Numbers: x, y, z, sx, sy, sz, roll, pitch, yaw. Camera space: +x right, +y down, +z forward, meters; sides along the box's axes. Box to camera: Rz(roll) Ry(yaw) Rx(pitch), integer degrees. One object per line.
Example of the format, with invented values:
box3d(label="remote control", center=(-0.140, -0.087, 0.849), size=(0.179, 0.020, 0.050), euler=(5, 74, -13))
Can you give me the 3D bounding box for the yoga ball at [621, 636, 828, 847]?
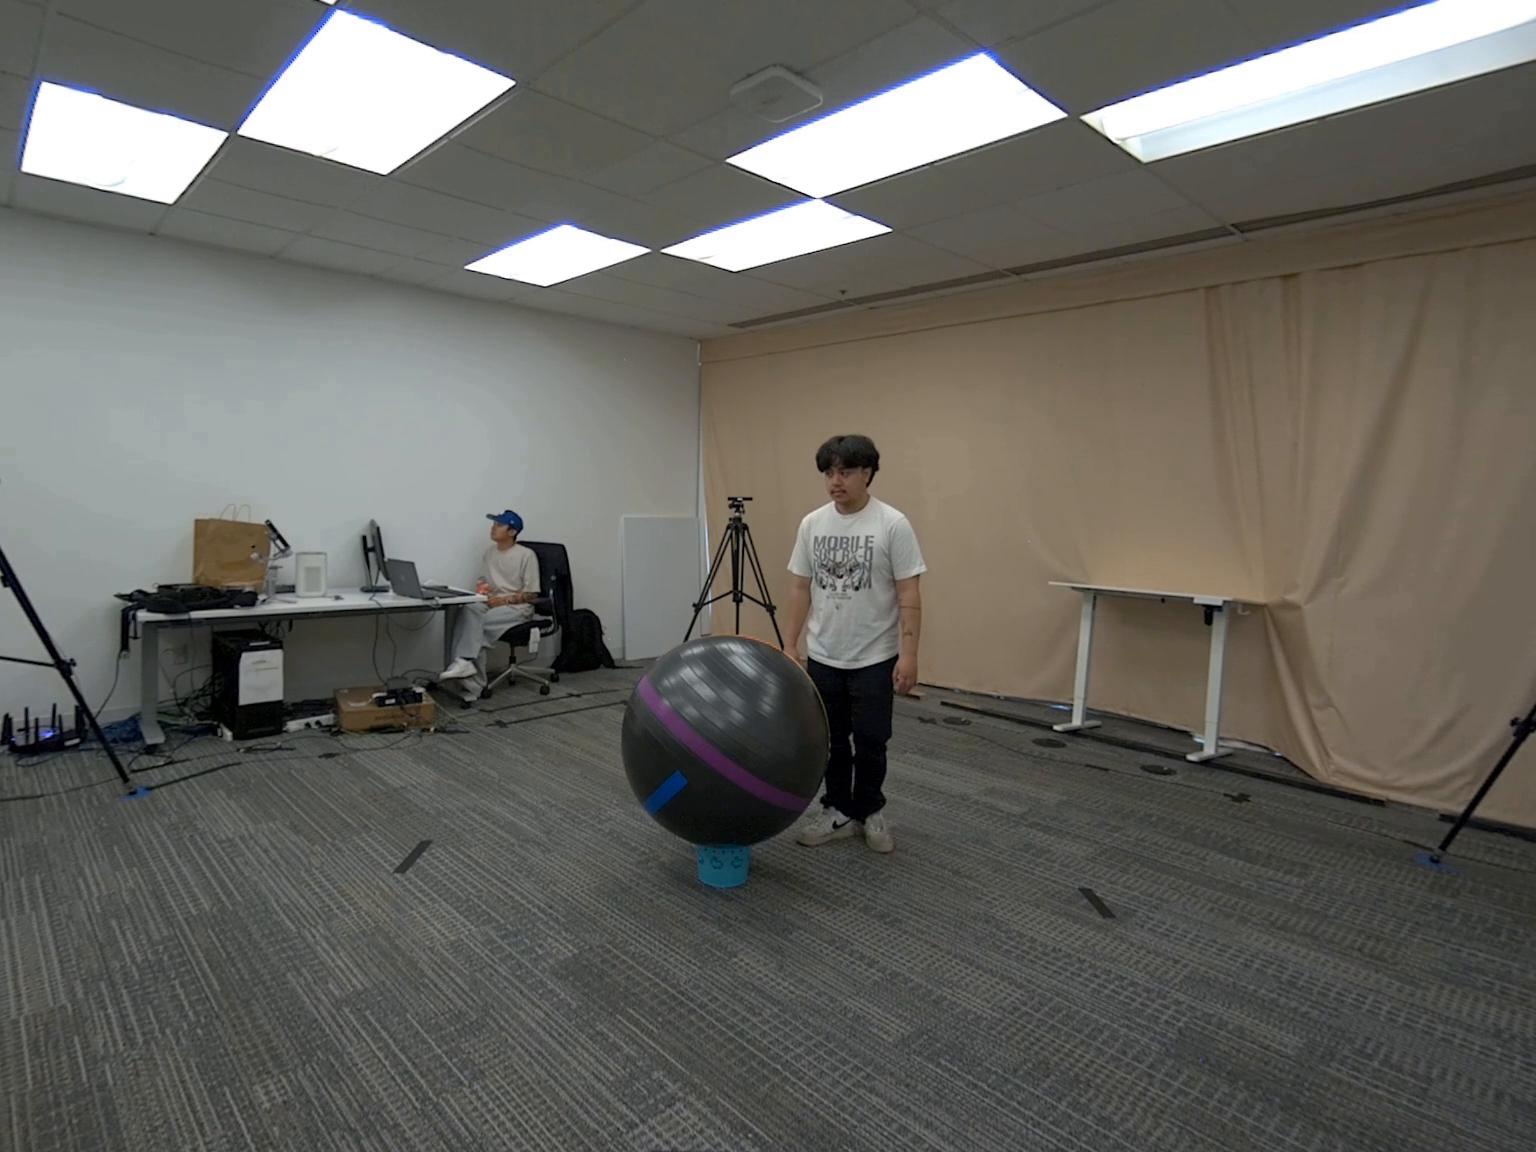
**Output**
box3d(label="yoga ball", center=(-0.159, 0.598, 3.084), size=(0.757, 0.756, 0.761), euler=(1, 4, -1))
